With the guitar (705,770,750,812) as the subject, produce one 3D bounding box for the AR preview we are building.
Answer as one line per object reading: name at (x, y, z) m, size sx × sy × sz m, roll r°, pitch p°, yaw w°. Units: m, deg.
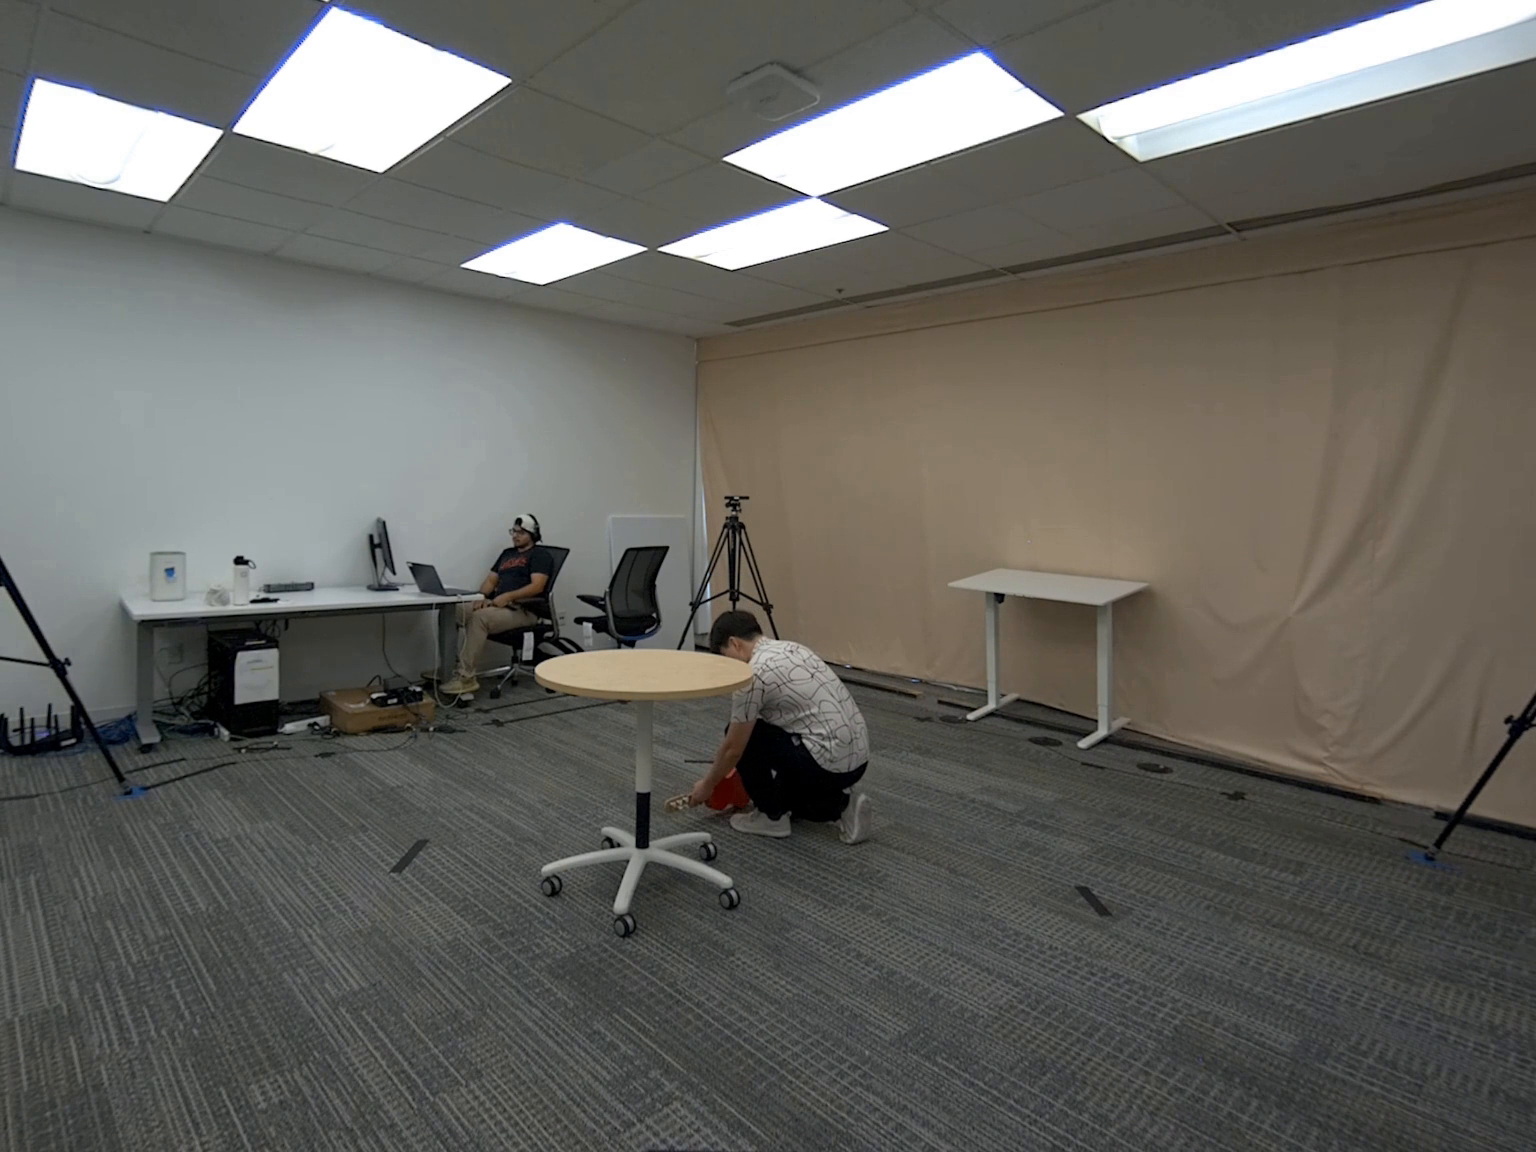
guitar at (-0.249, 0.974, 3.665) m, size 0.072 × 0.191 × 0.490 m, roll 0°, pitch 12°, yaw 41°
